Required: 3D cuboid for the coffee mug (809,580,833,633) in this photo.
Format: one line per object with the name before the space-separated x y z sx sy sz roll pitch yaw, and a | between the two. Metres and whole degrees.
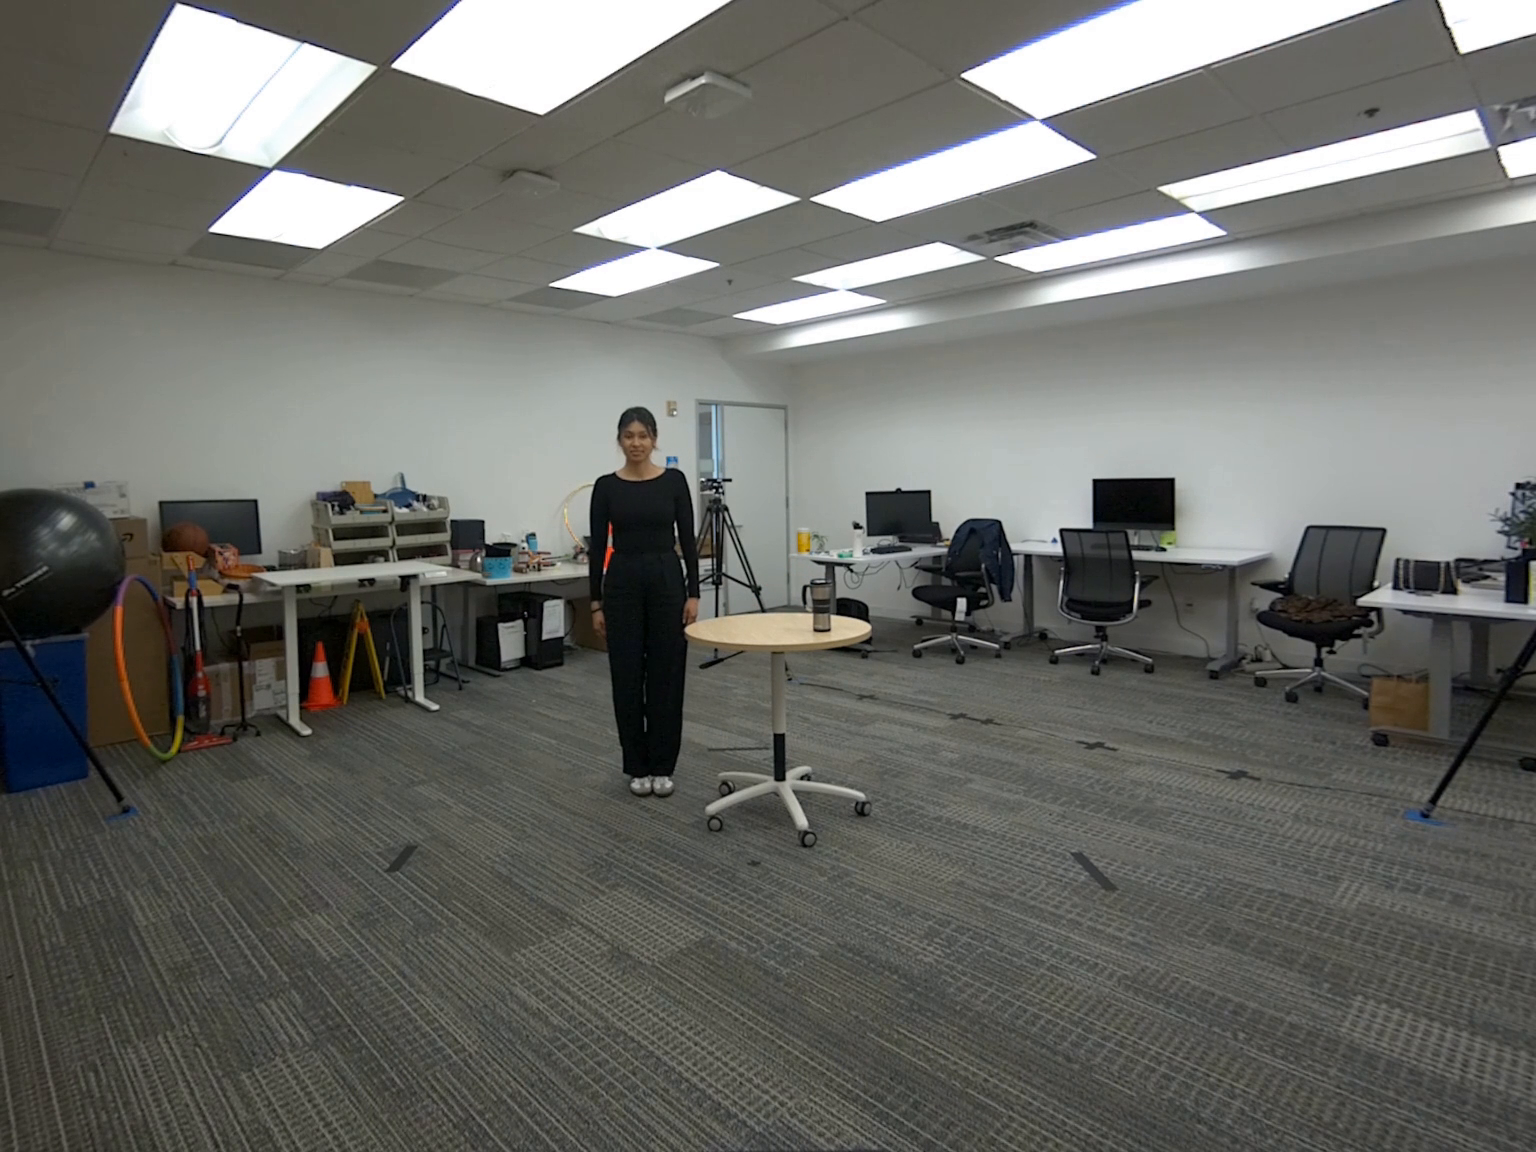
coffee mug | 0.201 0.115 3.420 0.086 0.201 0.126 -6 9 -31
